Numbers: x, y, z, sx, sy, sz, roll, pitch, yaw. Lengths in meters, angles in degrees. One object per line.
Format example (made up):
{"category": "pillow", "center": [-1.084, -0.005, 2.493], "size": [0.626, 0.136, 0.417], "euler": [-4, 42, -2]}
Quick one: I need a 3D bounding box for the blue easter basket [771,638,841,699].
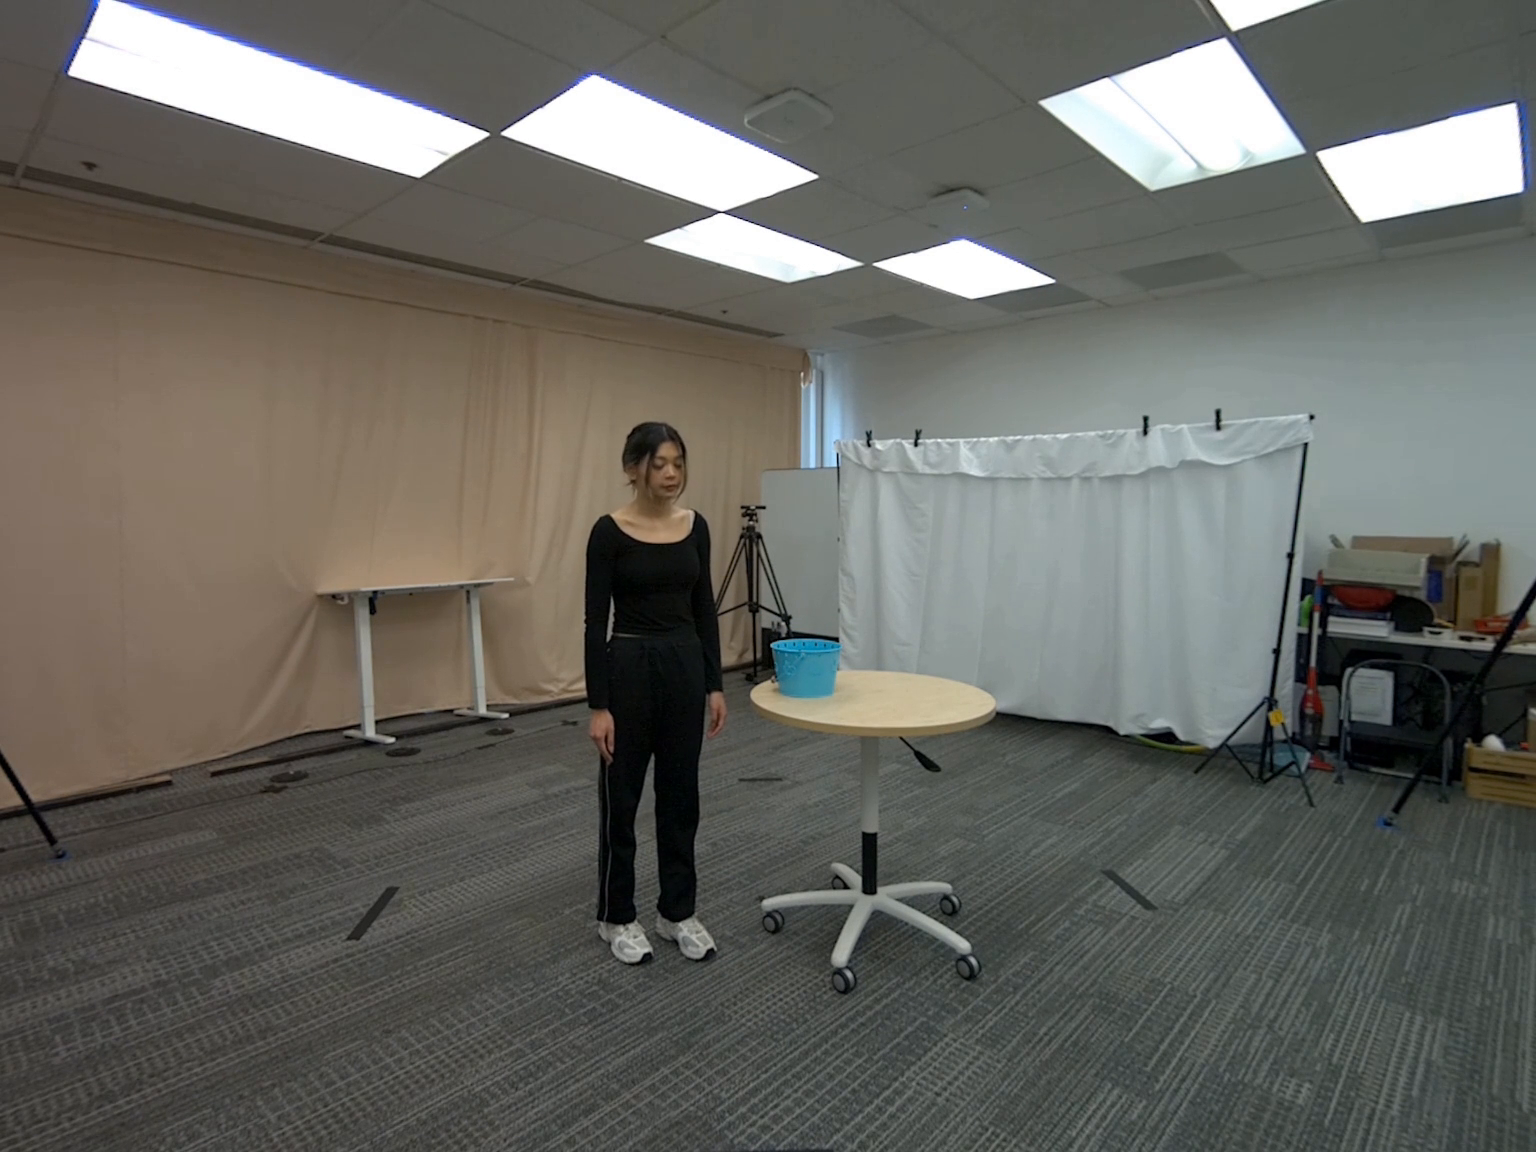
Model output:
{"category": "blue easter basket", "center": [0.129, 0.305, 2.742], "size": [0.243, 0.155, 0.245], "euler": [1, 6, -2]}
